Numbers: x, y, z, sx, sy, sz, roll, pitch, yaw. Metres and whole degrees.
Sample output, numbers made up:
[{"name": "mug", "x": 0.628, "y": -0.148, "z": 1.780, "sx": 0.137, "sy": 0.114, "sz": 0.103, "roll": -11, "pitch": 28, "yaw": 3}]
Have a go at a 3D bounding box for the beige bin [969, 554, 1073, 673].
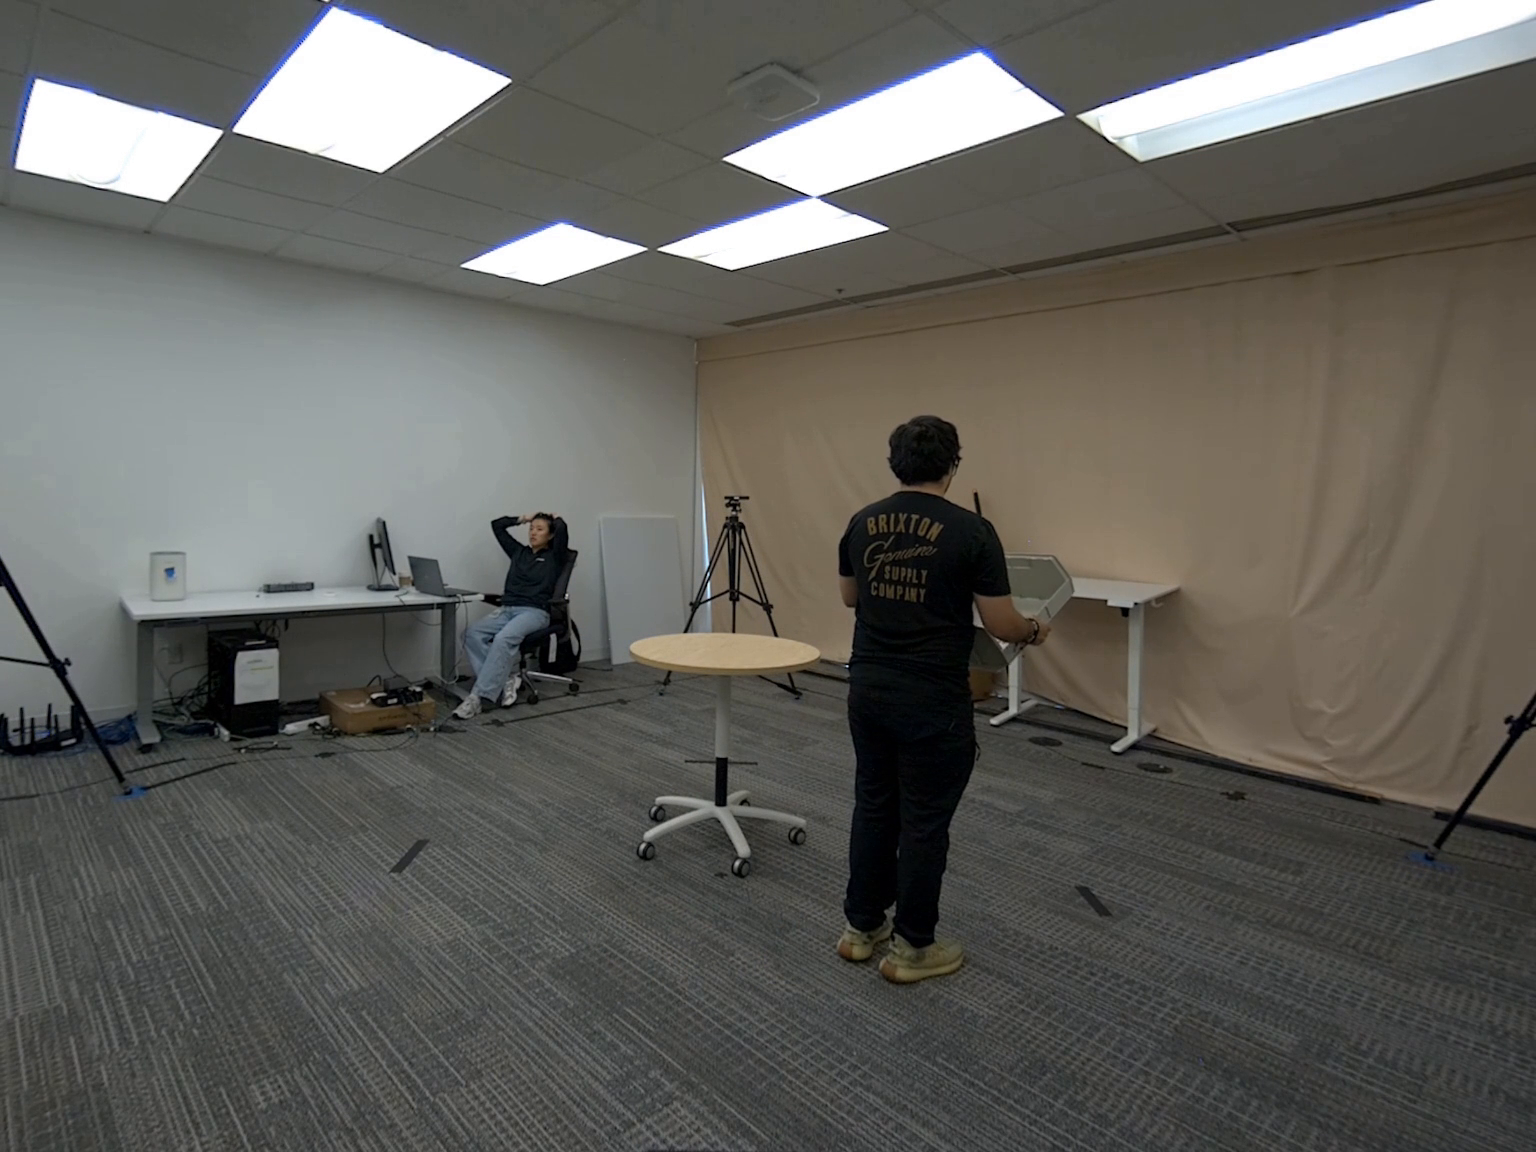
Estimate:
[{"name": "beige bin", "x": 0.732, "y": 0.113, "z": 2.800, "sx": 0.420, "sy": 0.186, "sz": 0.385, "roll": -39, "pitch": 20, "yaw": -29}]
